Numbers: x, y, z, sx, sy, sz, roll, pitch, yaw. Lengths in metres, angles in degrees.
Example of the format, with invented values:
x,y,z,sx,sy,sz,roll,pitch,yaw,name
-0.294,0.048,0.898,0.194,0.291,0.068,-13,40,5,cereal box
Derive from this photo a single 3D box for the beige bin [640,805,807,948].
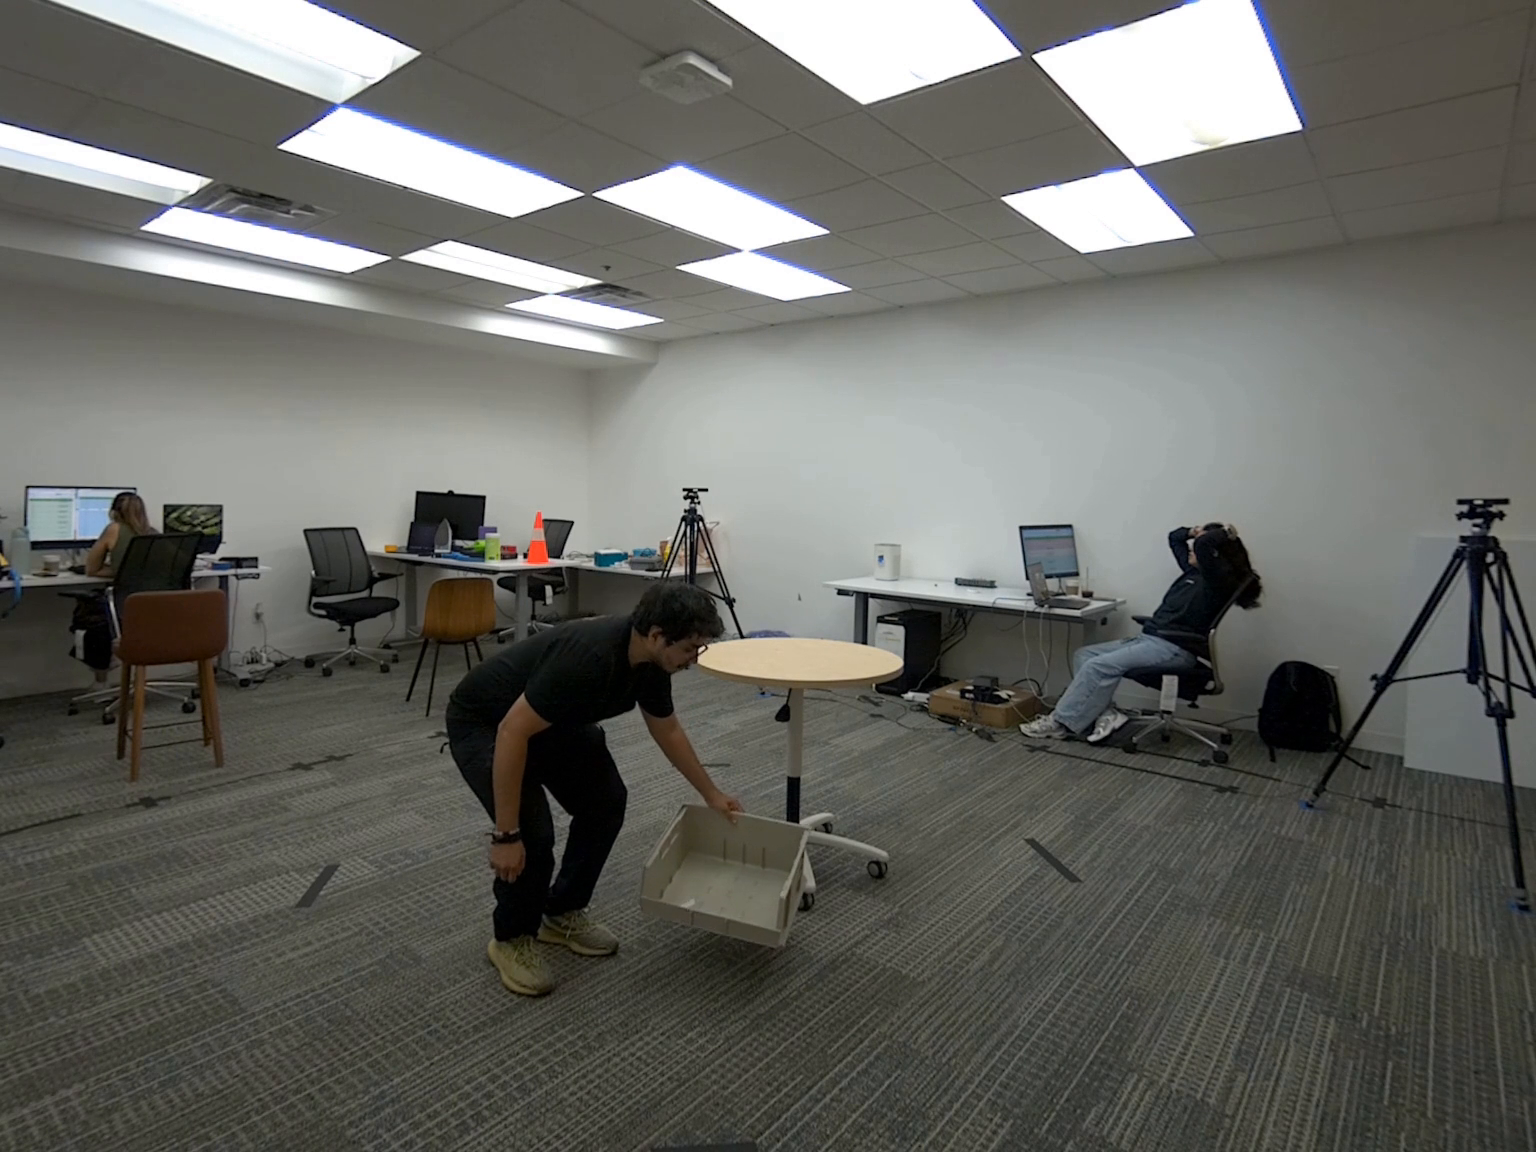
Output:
x,y,z,sx,sy,sz,roll,pitch,yaw,name
-0.132,0.897,2.558,0.429,0.186,0.376,11,17,12,beige bin
